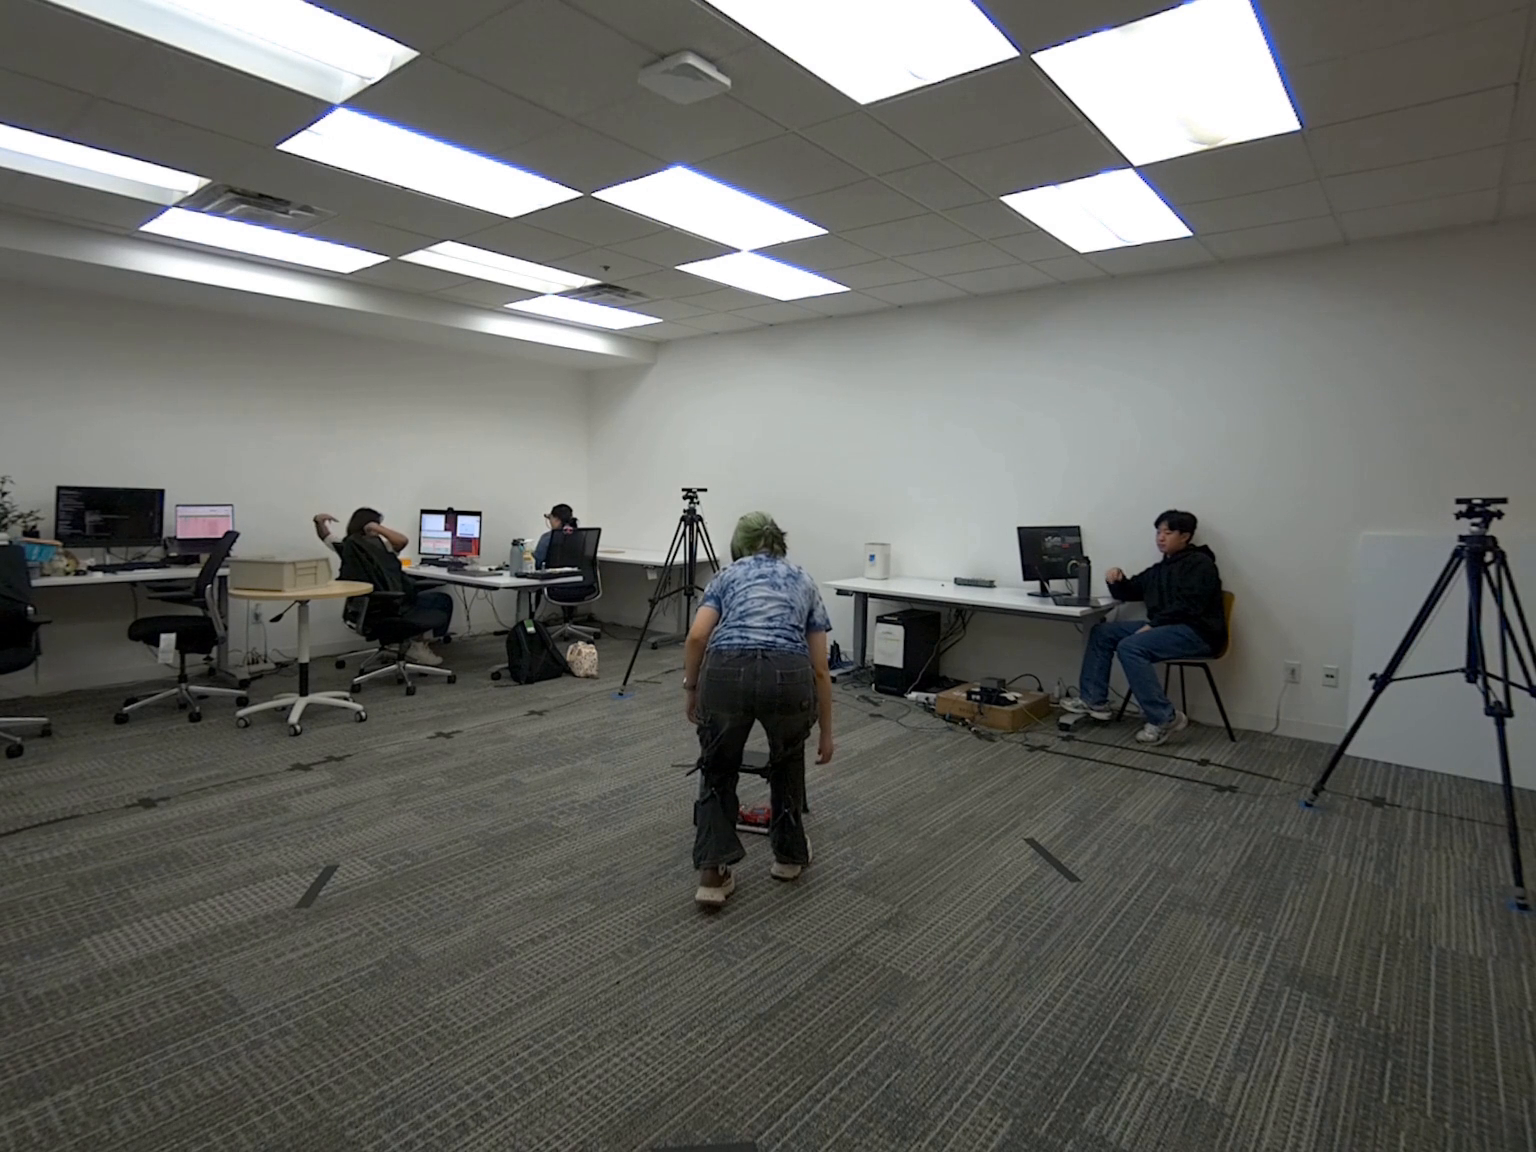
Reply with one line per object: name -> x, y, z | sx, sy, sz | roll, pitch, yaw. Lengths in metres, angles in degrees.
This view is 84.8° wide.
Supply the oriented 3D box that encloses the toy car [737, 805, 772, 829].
toy car -> -0.030, 0.998, 3.563 | 0.258, 0.083, 0.128 | -8, 0, 15
